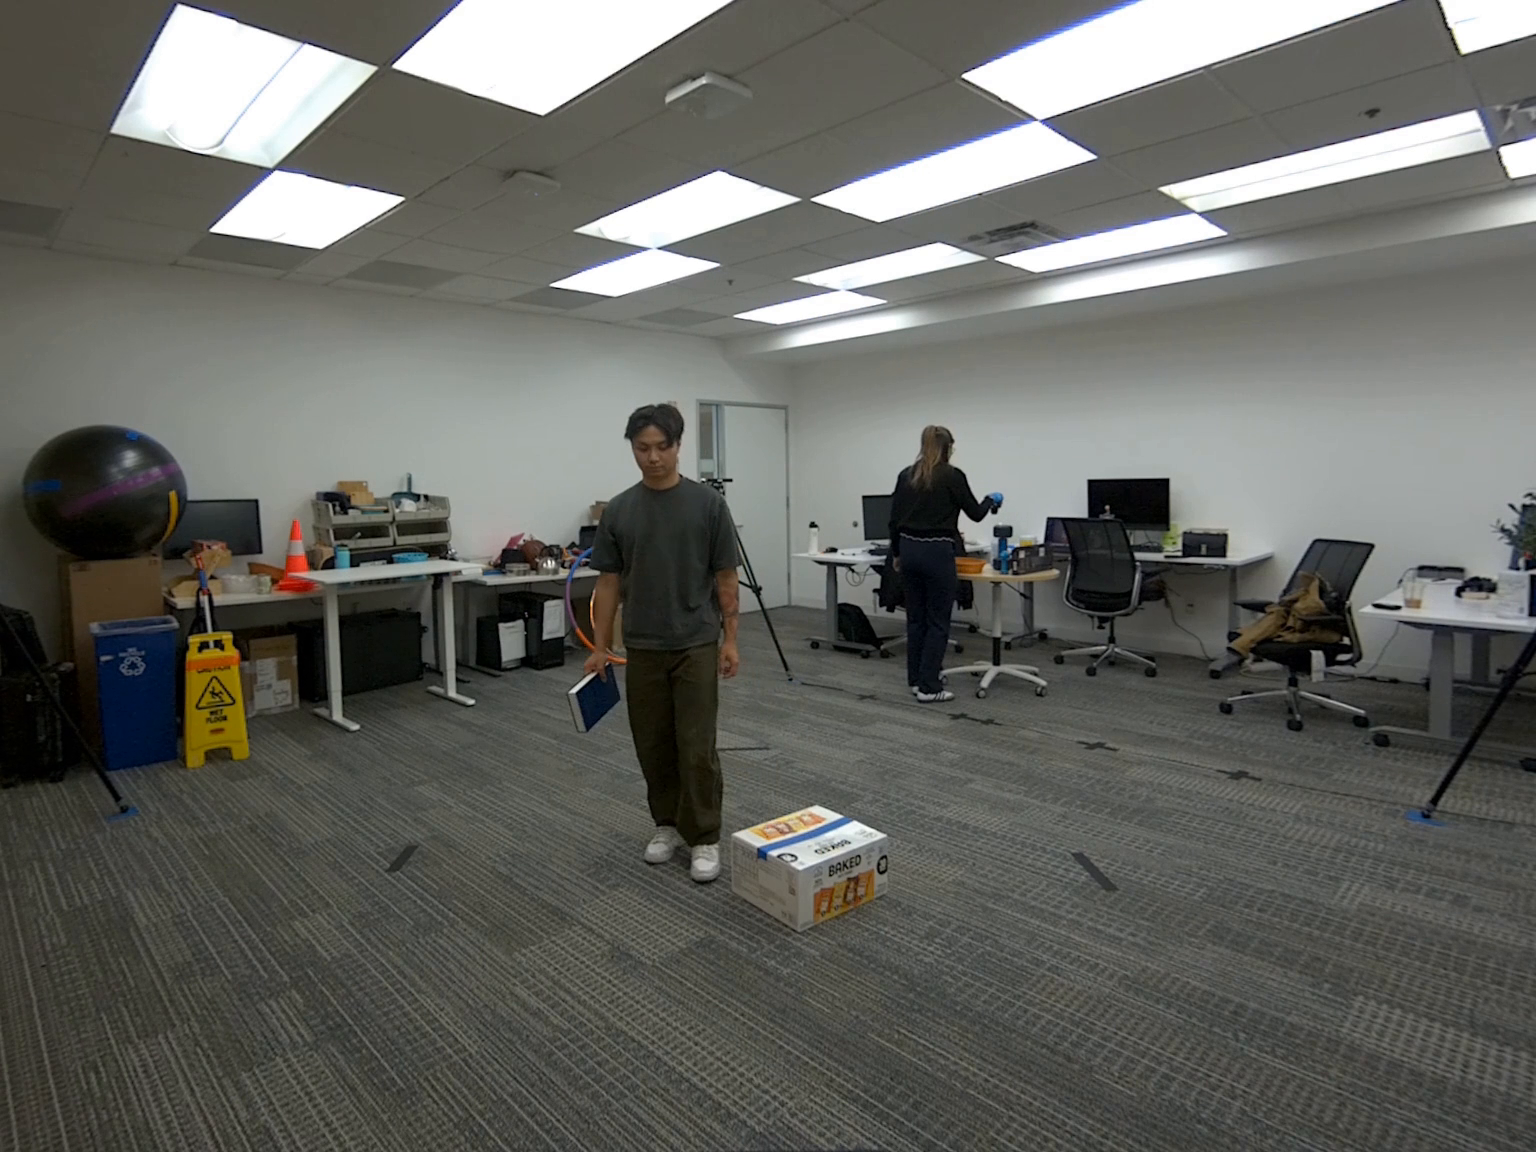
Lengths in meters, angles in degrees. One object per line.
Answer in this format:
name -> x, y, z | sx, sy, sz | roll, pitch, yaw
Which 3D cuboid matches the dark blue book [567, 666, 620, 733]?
dark blue book -> -0.632, 0.439, 3.149 | 0.046, 0.161, 0.244 | -4, 18, 25
